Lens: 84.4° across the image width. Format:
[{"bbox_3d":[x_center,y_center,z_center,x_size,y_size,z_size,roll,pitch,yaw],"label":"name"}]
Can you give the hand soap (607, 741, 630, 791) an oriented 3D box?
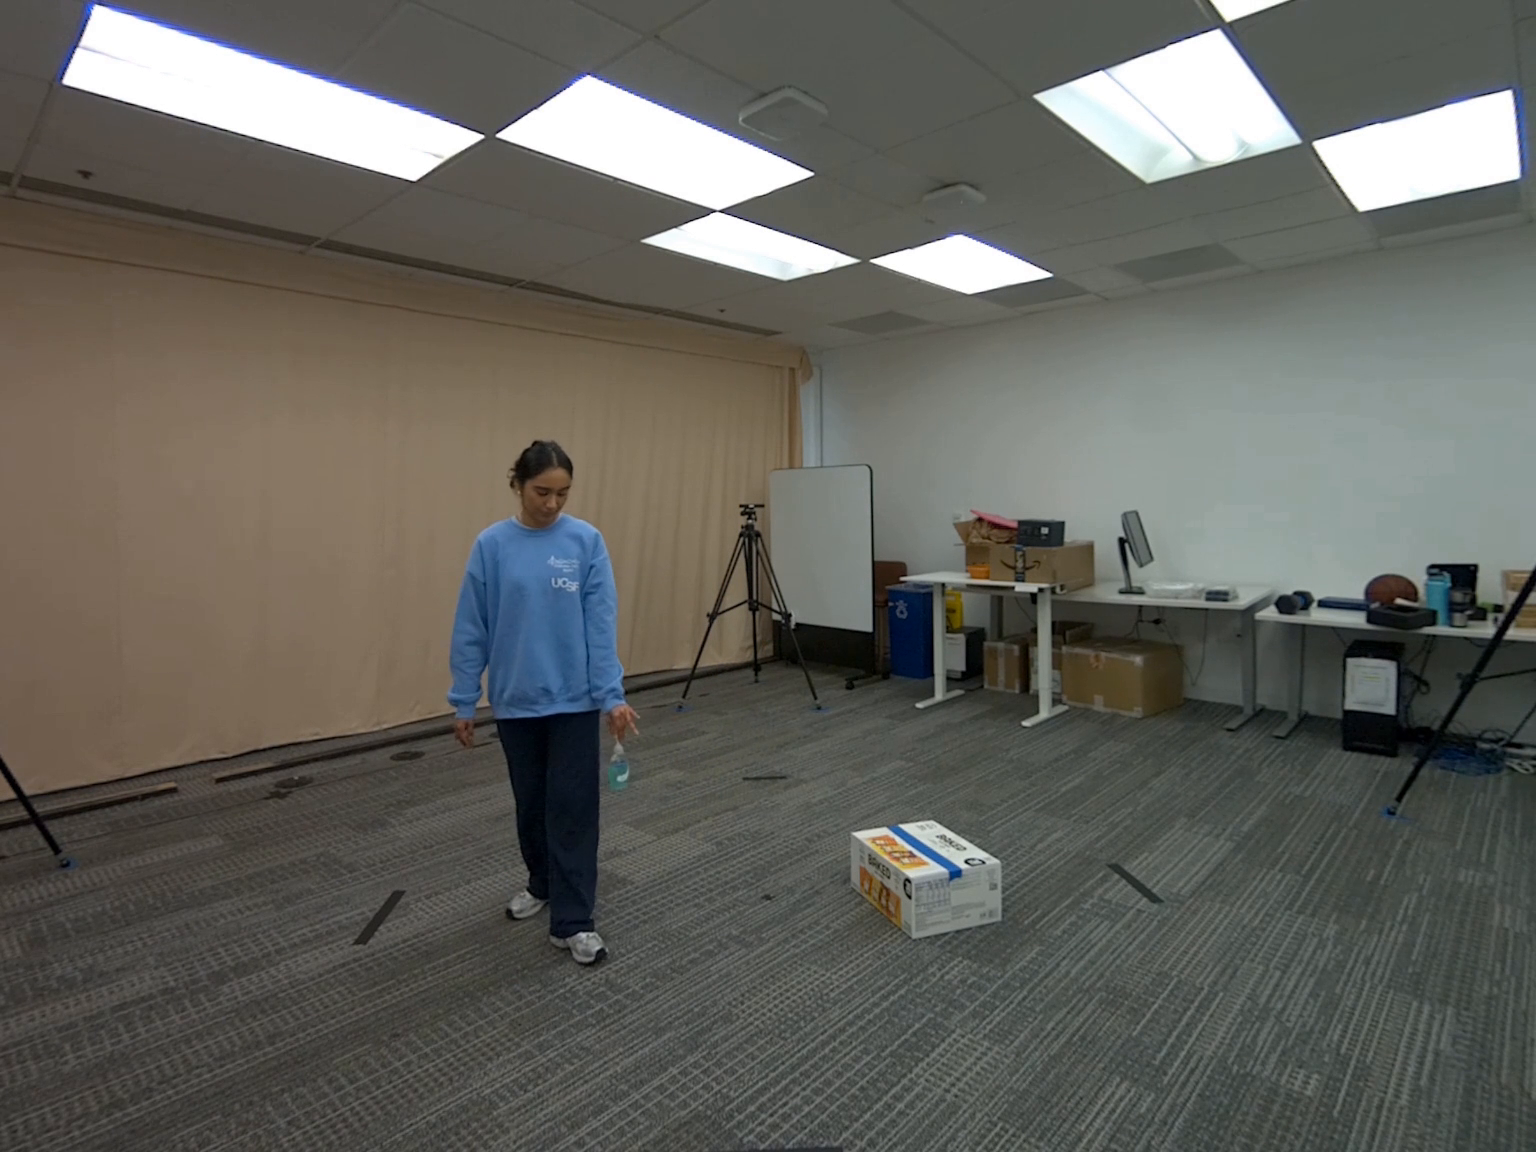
[{"bbox_3d":[-0.487,0.578,2.663,0.082,0.168,0.044,5,-3,-25],"label":"hand soap"}]
